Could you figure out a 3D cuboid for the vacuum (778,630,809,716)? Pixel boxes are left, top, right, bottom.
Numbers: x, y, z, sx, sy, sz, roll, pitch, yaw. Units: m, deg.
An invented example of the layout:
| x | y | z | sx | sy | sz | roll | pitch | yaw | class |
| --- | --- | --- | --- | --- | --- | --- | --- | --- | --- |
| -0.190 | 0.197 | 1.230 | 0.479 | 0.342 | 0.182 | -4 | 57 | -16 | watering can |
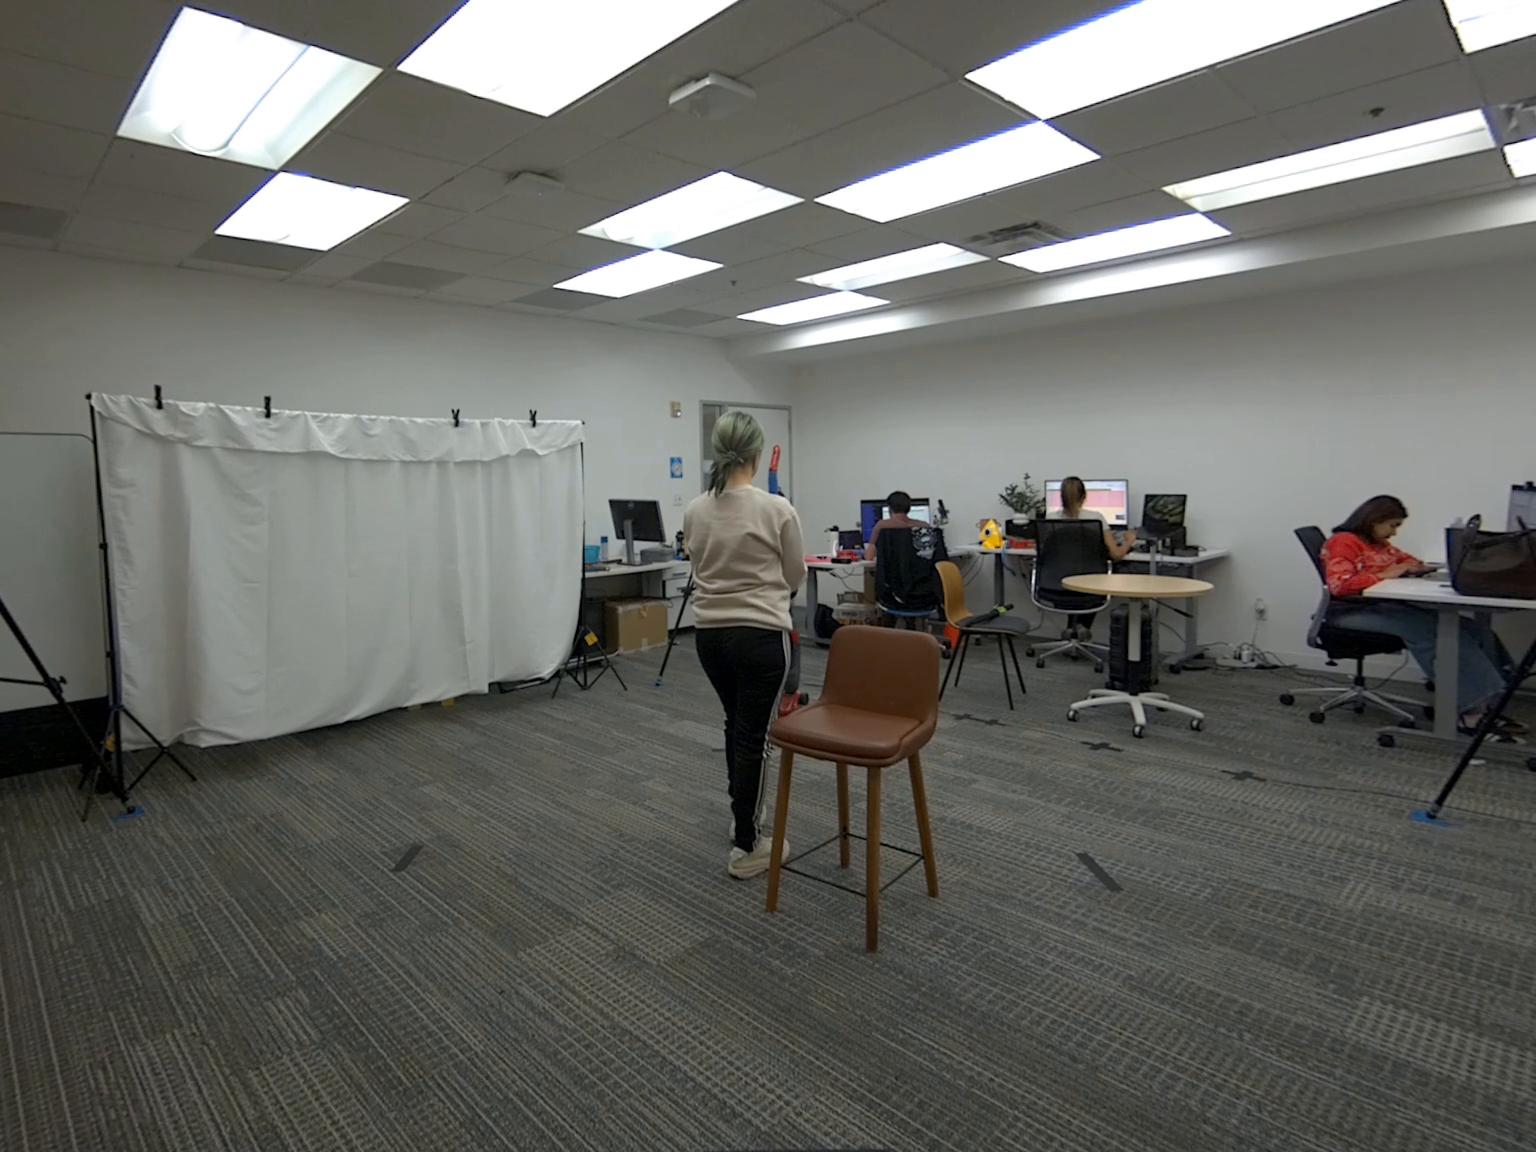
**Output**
| x | y | z | sx | sy | sz | roll | pitch | yaw | class |
| --- | --- | --- | --- | --- | --- | --- | --- | --- | --- |
| 0.067 | 0.015 | 3.420 | 0.259 | 1.045 | 0.141 | 0 | 4 | 27 | vacuum |
